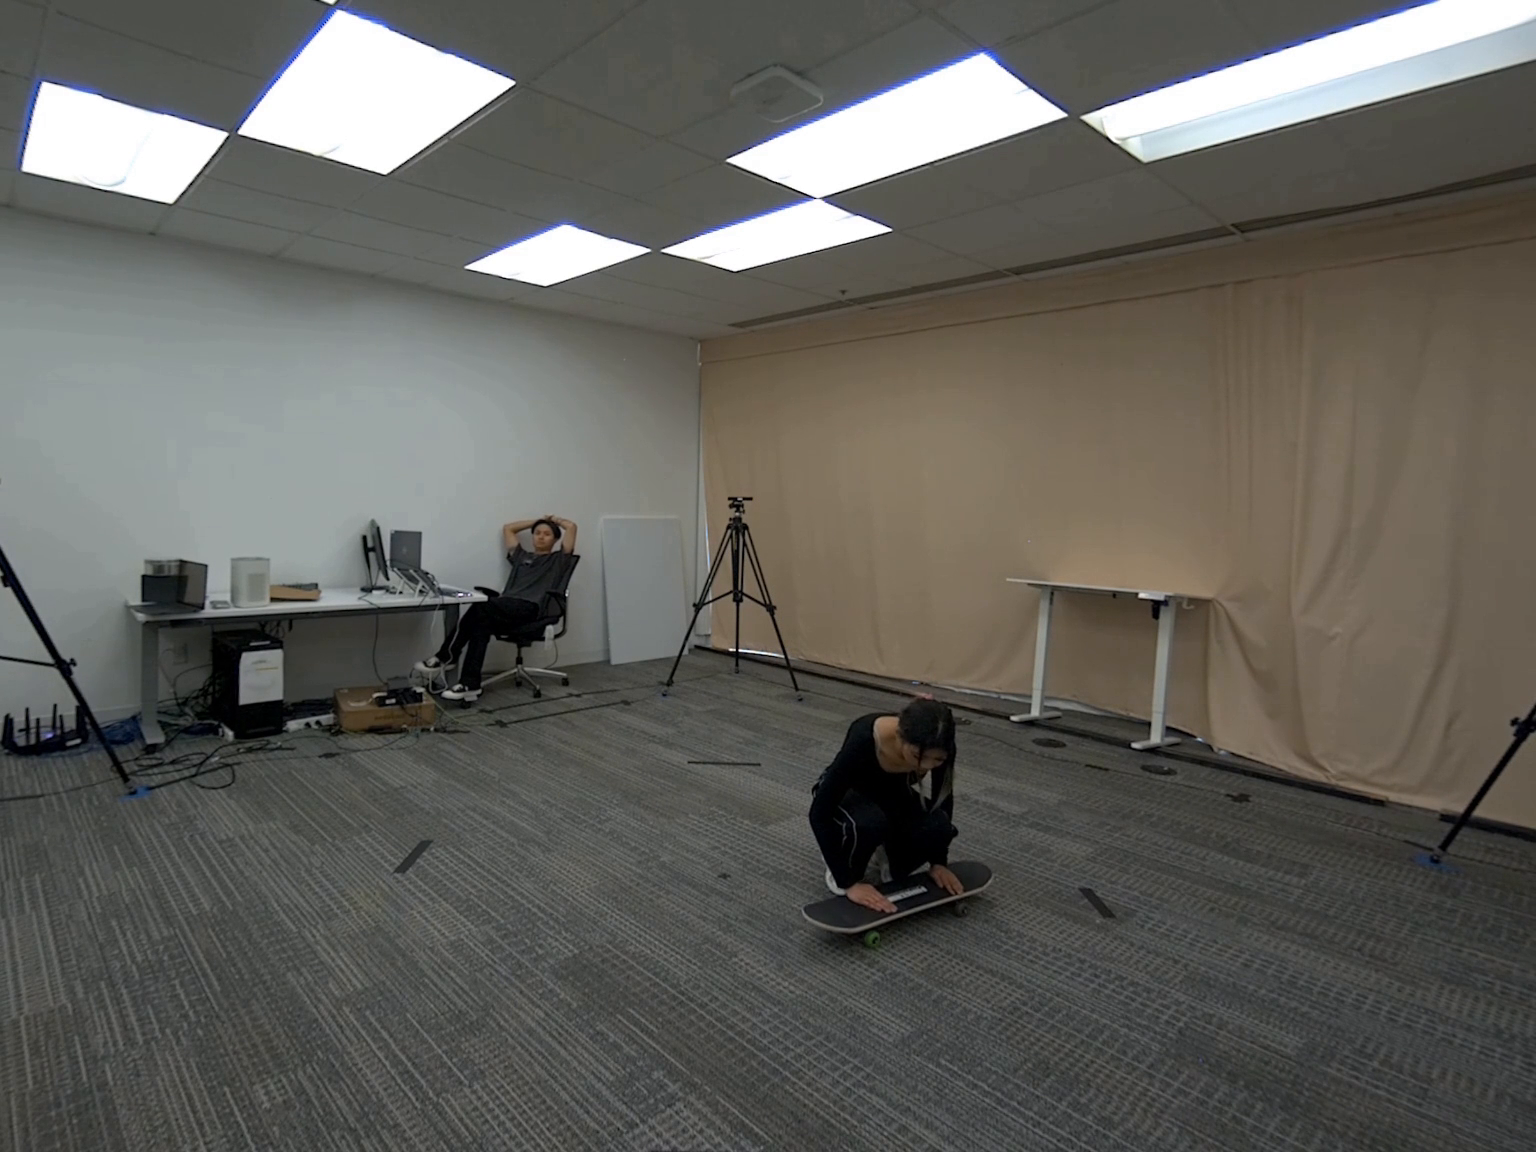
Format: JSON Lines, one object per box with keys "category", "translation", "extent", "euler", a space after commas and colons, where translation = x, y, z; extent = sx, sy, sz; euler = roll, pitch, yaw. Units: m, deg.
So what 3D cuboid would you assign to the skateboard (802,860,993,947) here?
{"category": "skateboard", "translation": [0.438, 1.094, 2.793], "extent": [0.769, 0.110, 0.198], "euler": [-1, 6, -32]}
